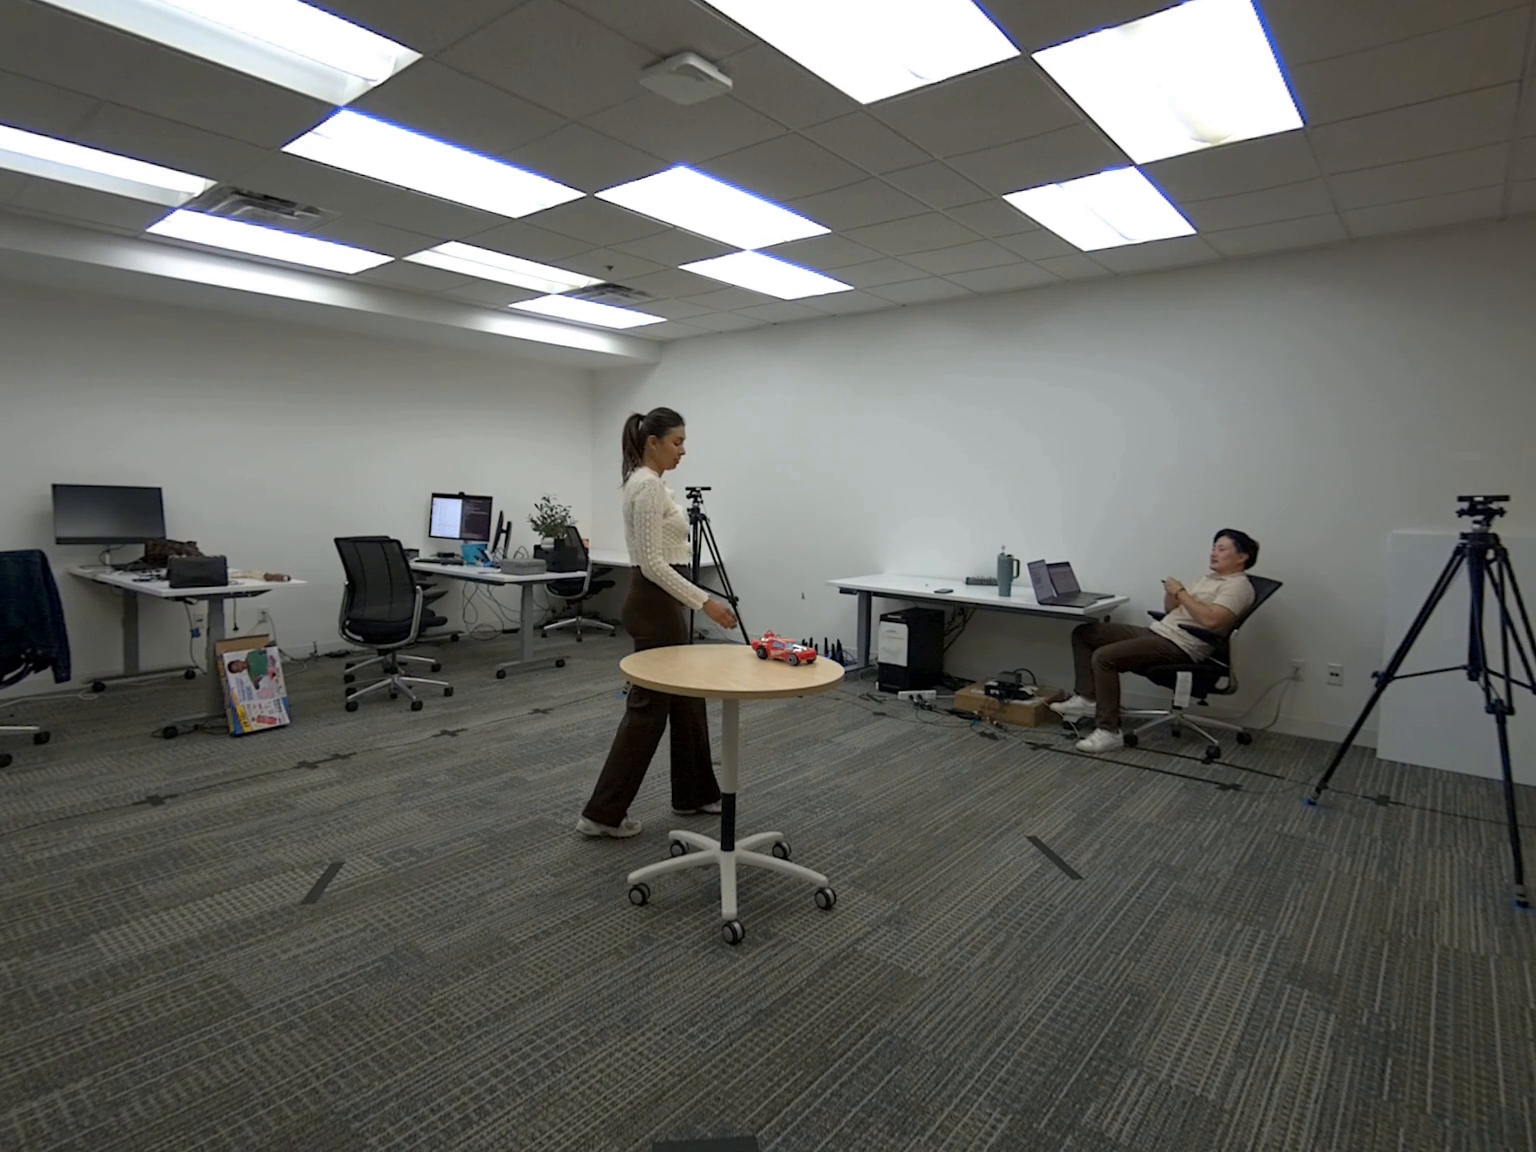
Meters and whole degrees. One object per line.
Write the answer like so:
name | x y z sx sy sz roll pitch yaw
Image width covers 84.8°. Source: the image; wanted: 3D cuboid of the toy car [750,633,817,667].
toy car | 0.043 0.264 3.031 0.265 0.082 0.126 21 16 42
